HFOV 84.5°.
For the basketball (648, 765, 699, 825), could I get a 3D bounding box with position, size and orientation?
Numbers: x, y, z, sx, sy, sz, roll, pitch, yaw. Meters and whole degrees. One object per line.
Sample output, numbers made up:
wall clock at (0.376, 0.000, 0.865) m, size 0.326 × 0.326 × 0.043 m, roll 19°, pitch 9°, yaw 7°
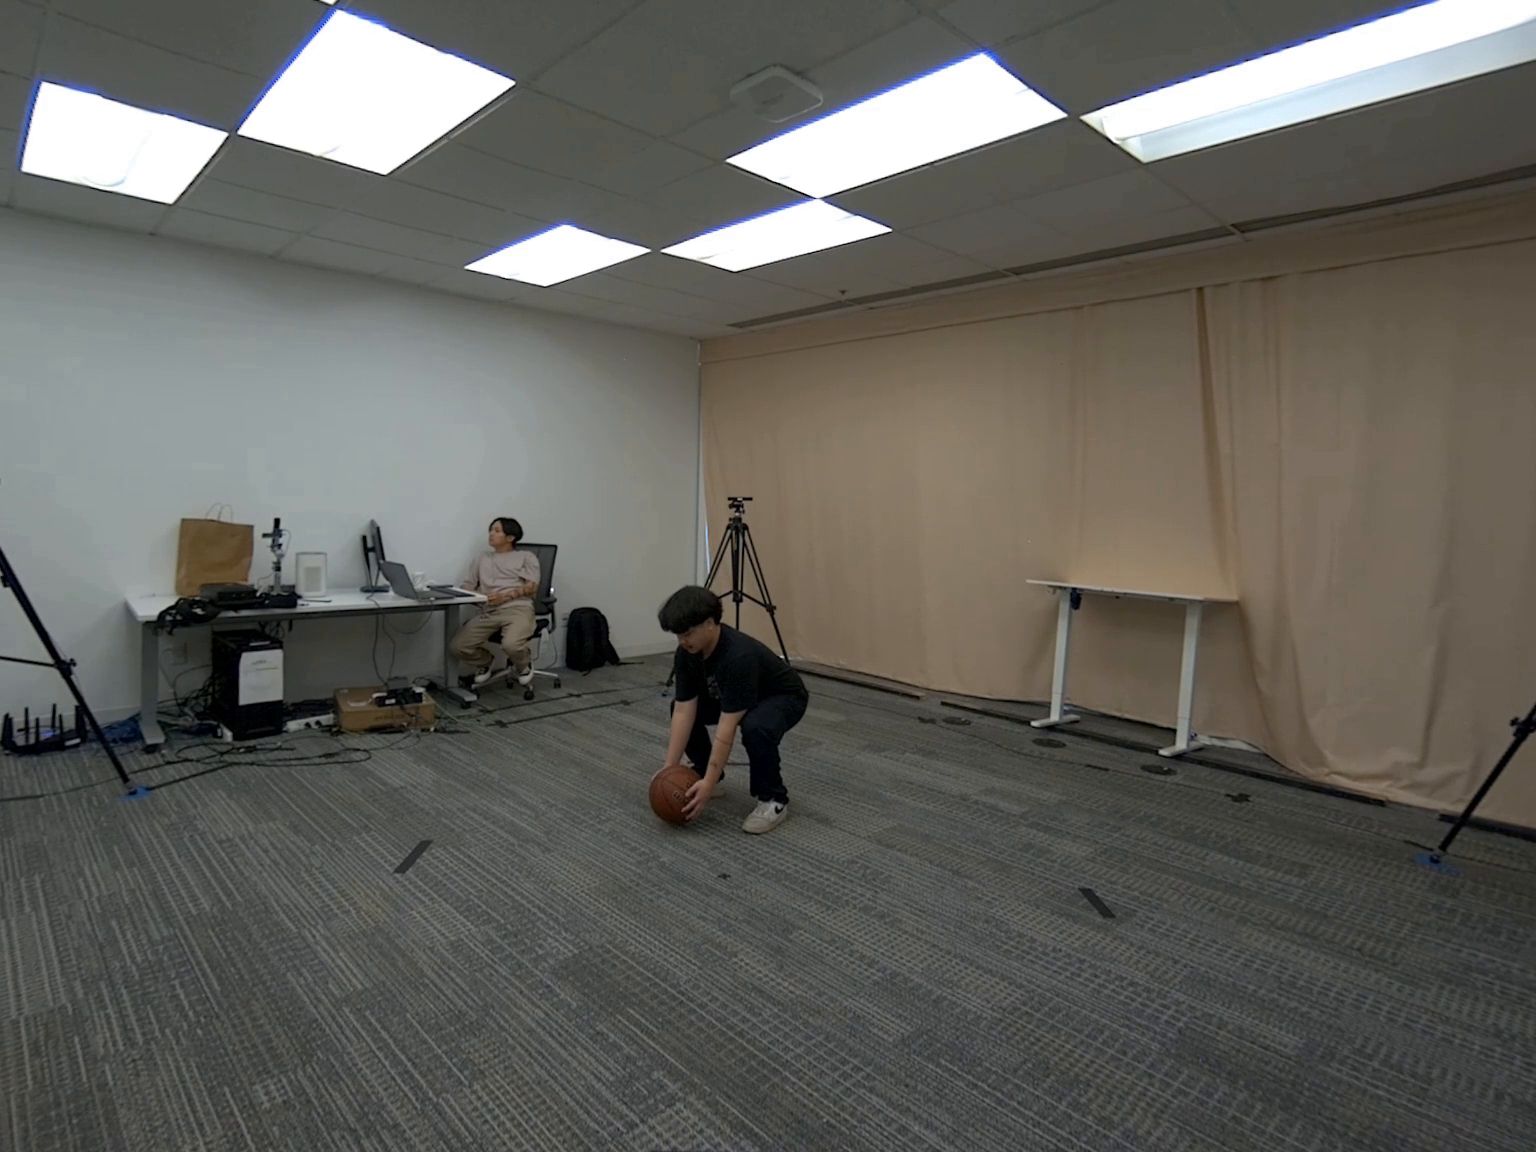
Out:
basketball at (-0.401, 0.915, 3.559) m, size 0.236 × 0.235 × 0.237 m, roll 1°, pitch 4°, yaw -1°
